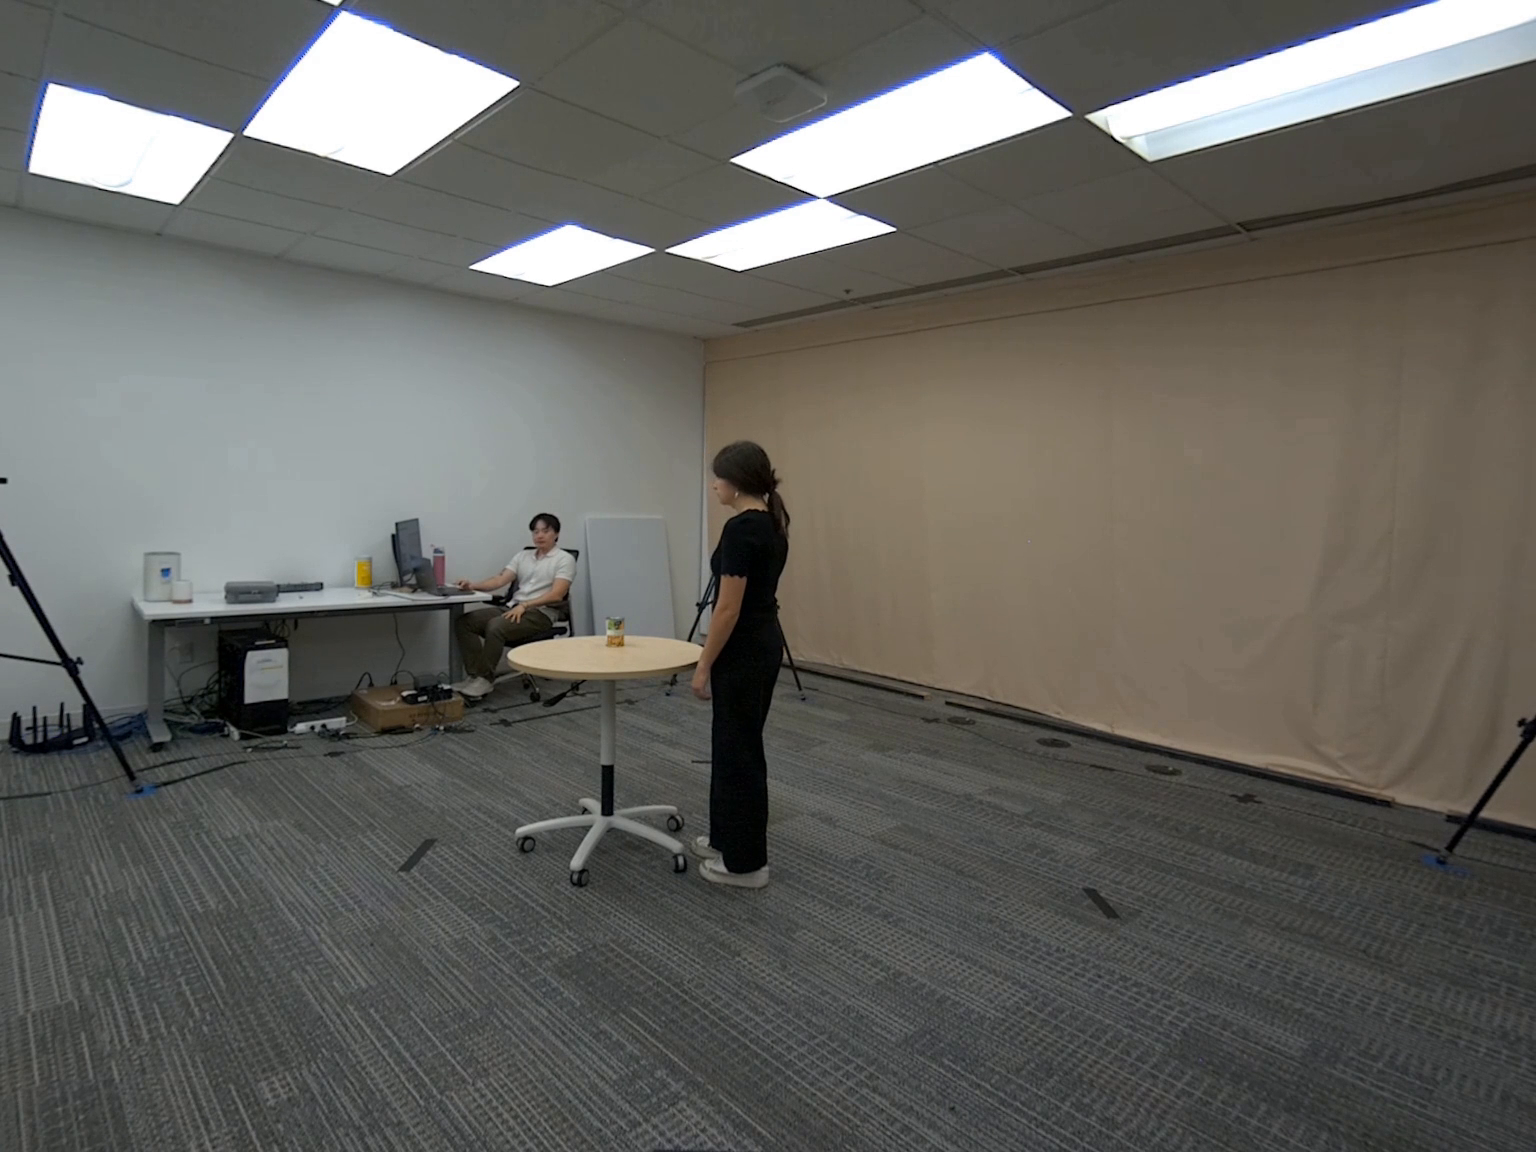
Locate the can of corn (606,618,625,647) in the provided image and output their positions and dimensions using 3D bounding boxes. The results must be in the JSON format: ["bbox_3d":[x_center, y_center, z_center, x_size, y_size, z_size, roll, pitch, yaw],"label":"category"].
[{"bbox_3d":[-0.629,0.226,3.414,0.074,0.111,0.074,1,3,-1],"label":"can of corn"}]
